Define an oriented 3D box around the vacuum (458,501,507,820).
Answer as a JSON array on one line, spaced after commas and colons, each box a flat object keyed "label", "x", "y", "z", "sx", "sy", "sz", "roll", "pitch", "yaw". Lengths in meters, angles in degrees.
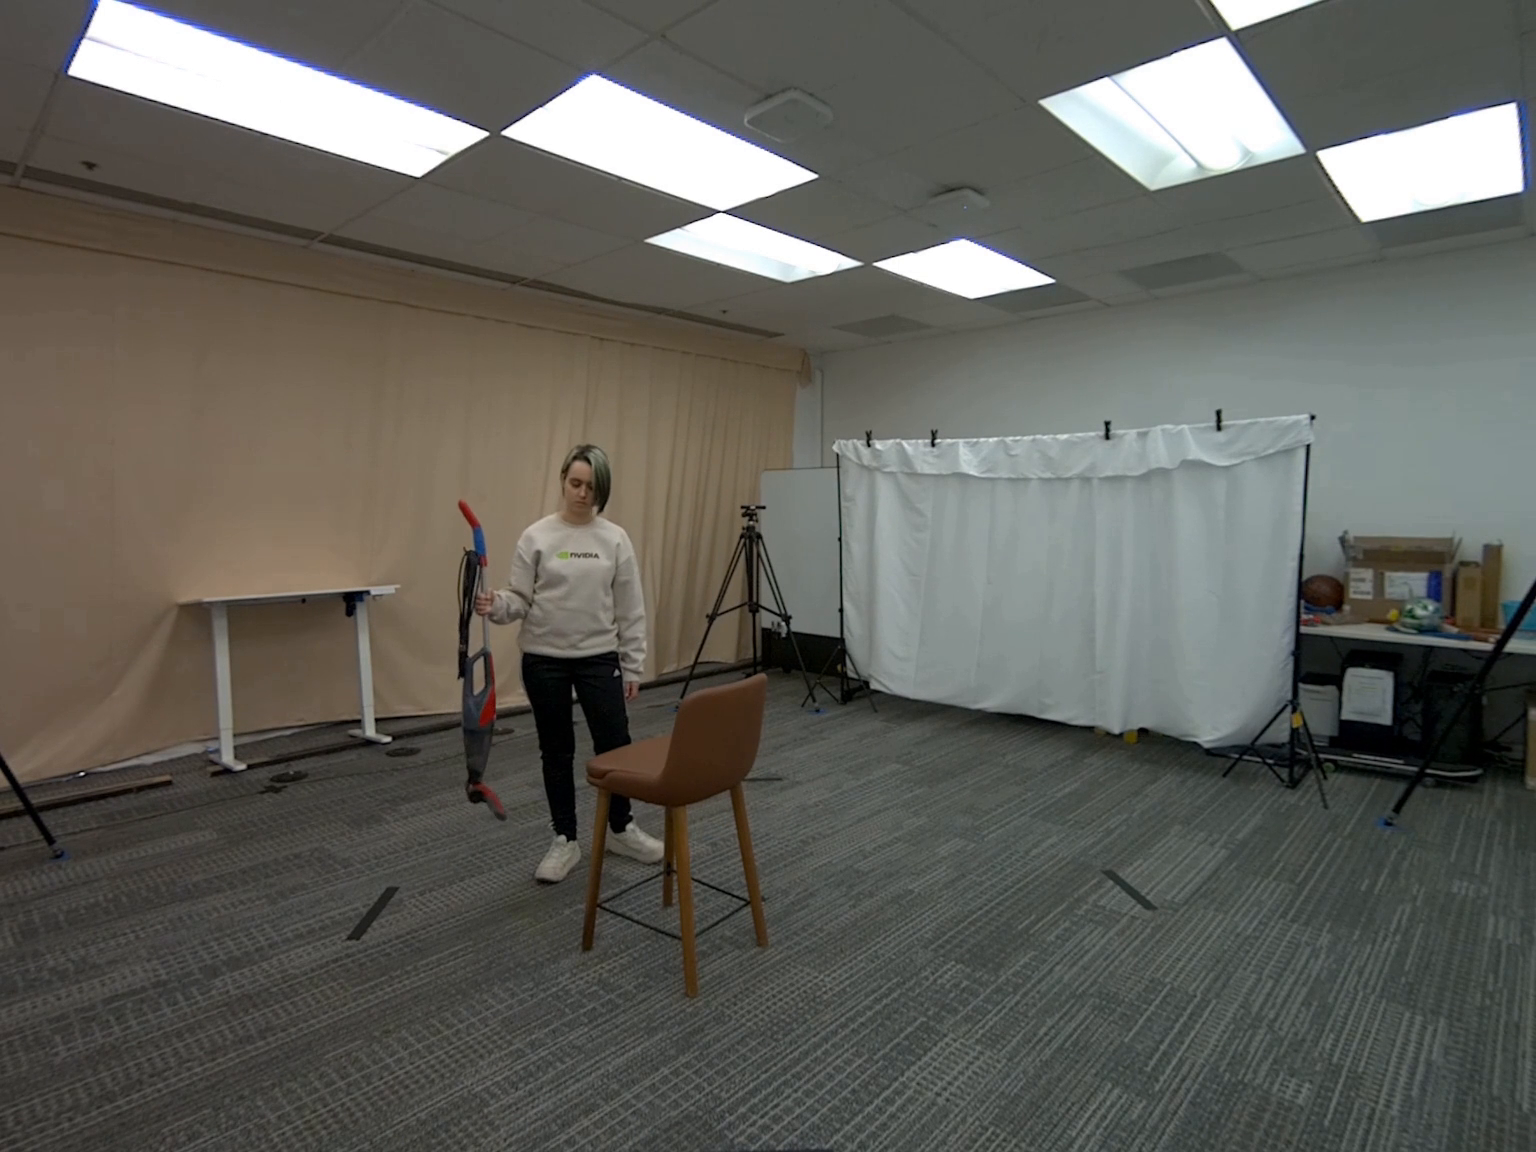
[{"label": "vacuum", "x": -1.027, "y": 0.271, "z": 2.951, "sx": 0.141, "sy": 1.047, "sz": 0.258, "roll": -4, "pitch": 3, "yaw": -23}]
